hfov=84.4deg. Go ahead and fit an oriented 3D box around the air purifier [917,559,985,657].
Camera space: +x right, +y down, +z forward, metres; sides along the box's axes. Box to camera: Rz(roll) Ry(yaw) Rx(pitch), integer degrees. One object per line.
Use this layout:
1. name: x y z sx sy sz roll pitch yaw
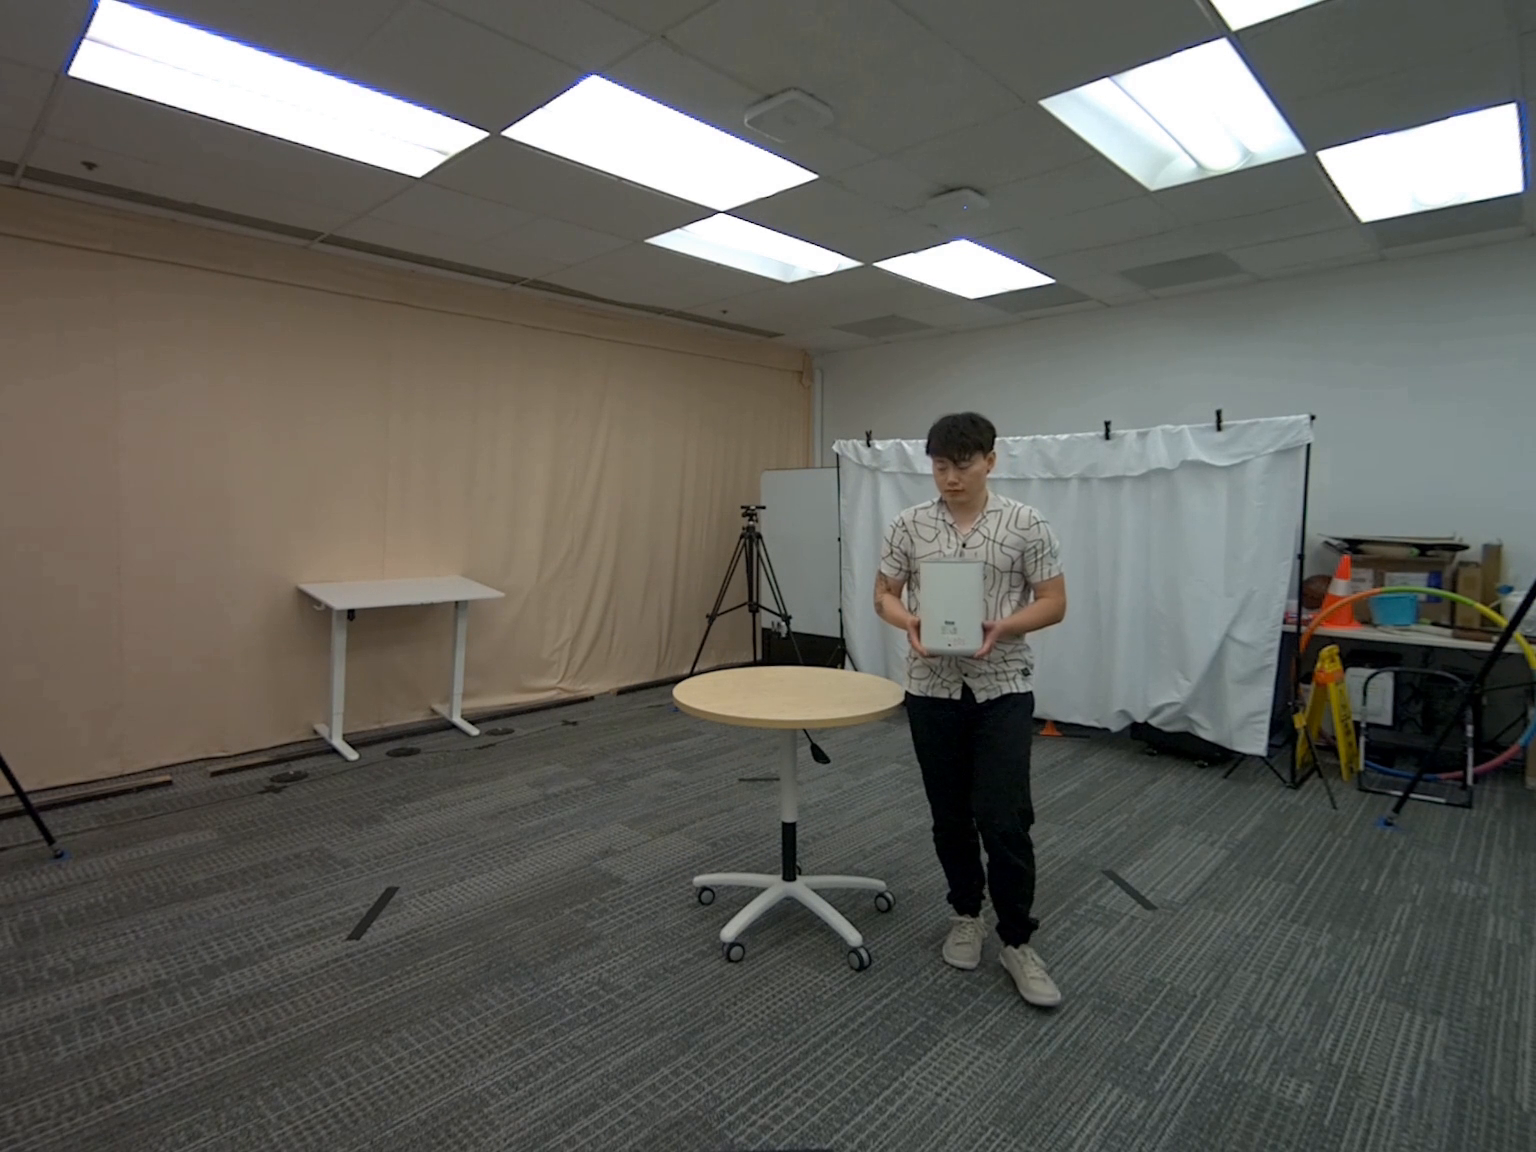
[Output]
1. air purifier: 0.524 0.088 2.378 0.173 0.265 0.170 2 3 9
